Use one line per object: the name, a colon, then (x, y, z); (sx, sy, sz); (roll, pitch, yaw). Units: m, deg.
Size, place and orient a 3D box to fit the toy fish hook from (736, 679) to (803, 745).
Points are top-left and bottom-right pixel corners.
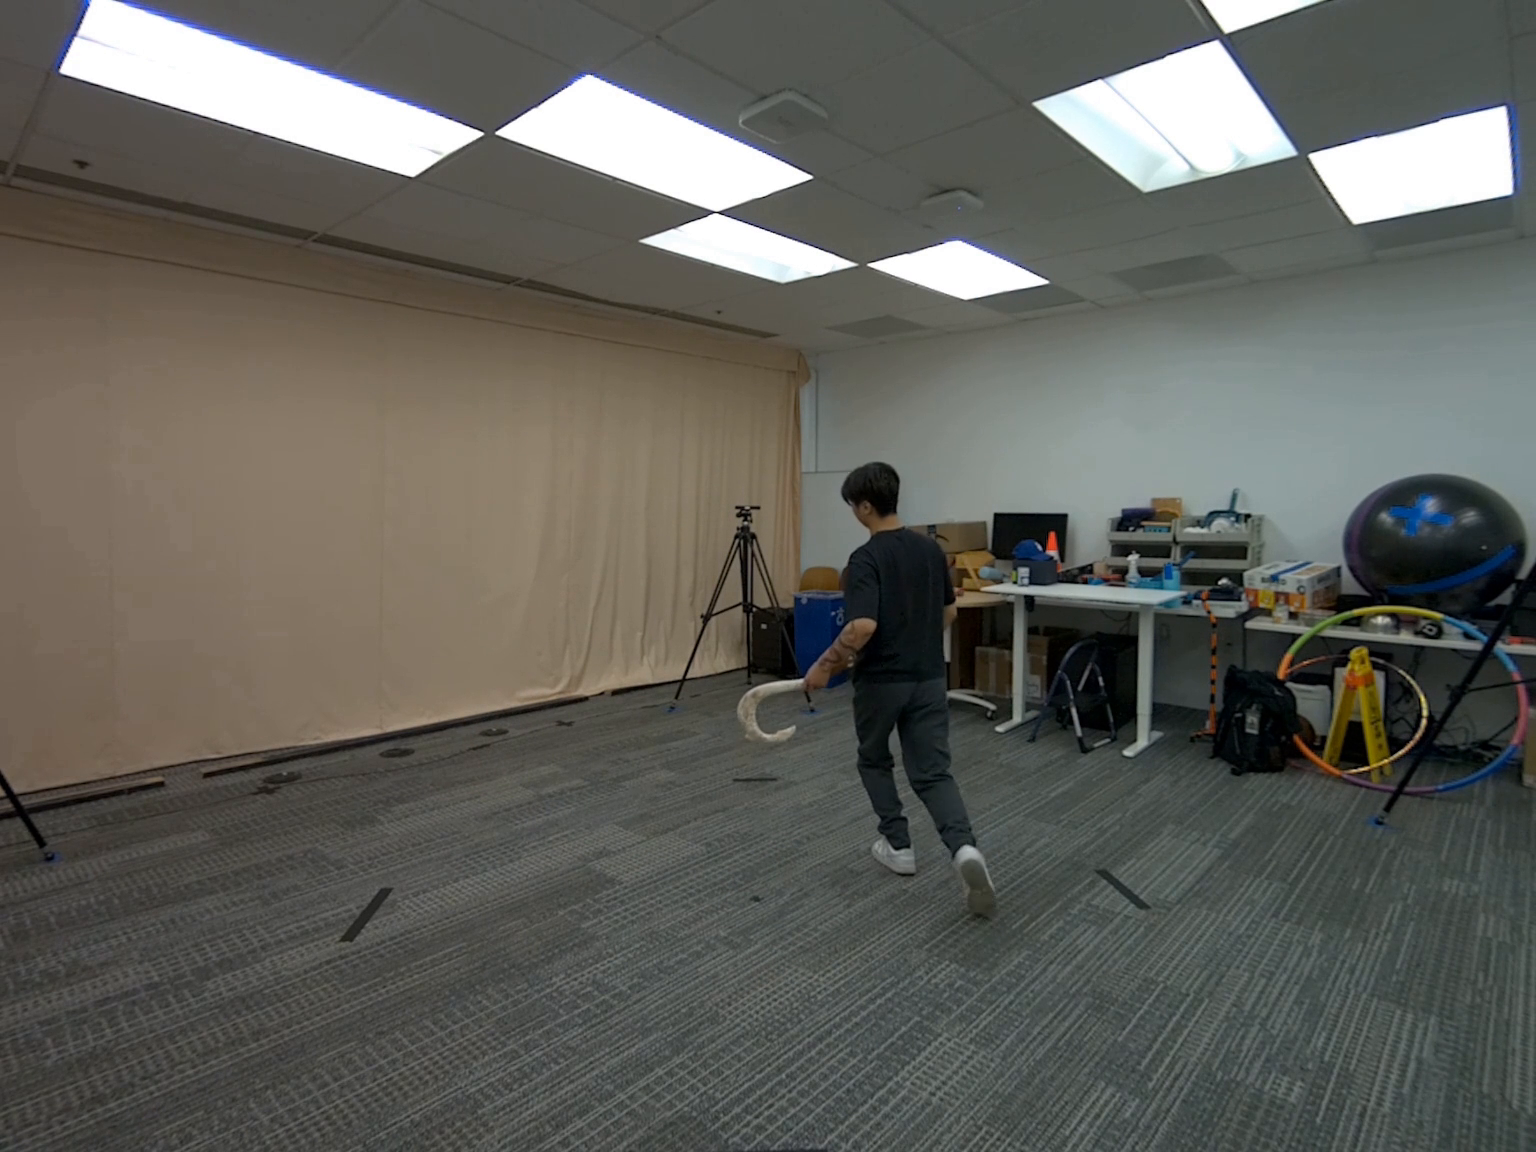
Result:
toy fish hook: (0.119, 0.461, 3.189); (0.512, 0.227, 0.047); (-27, -11, 15)
